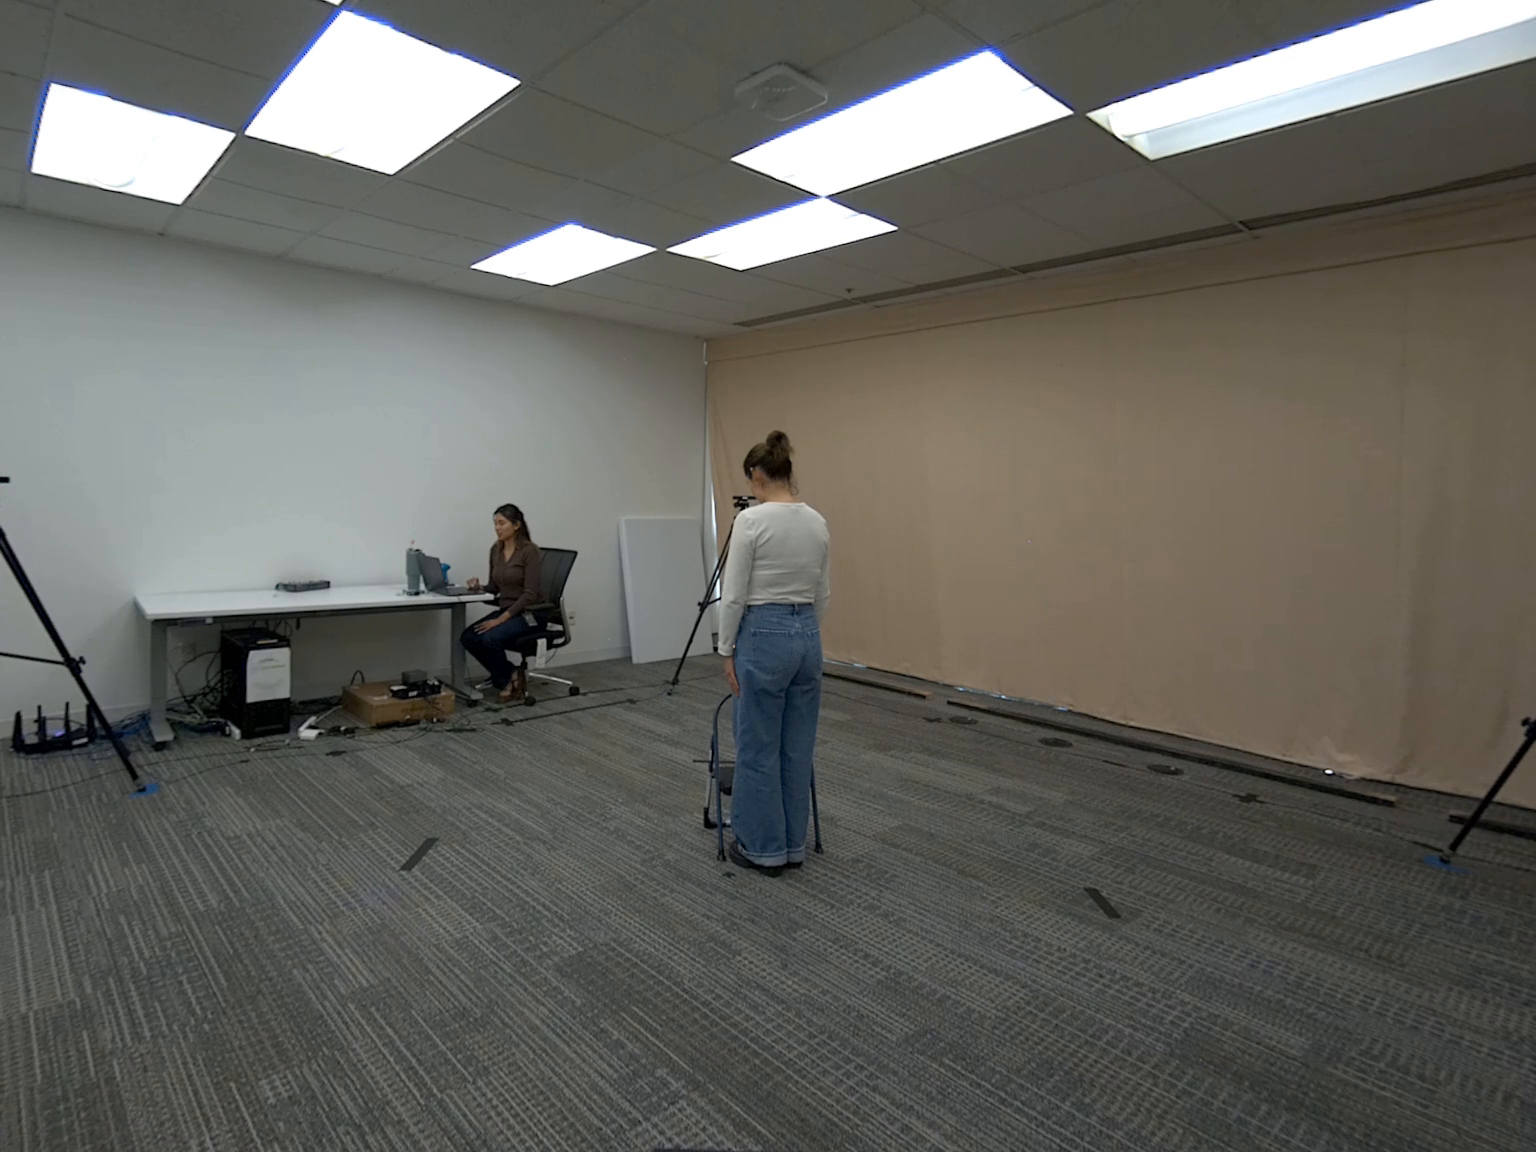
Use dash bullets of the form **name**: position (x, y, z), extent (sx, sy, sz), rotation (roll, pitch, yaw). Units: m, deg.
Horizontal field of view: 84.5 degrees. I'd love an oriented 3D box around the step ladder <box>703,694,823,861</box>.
- **step ladder**: position (-0.027, 0.776, 3.424), extent (0.426, 0.605, 0.354), rotation (1, 3, -14)
